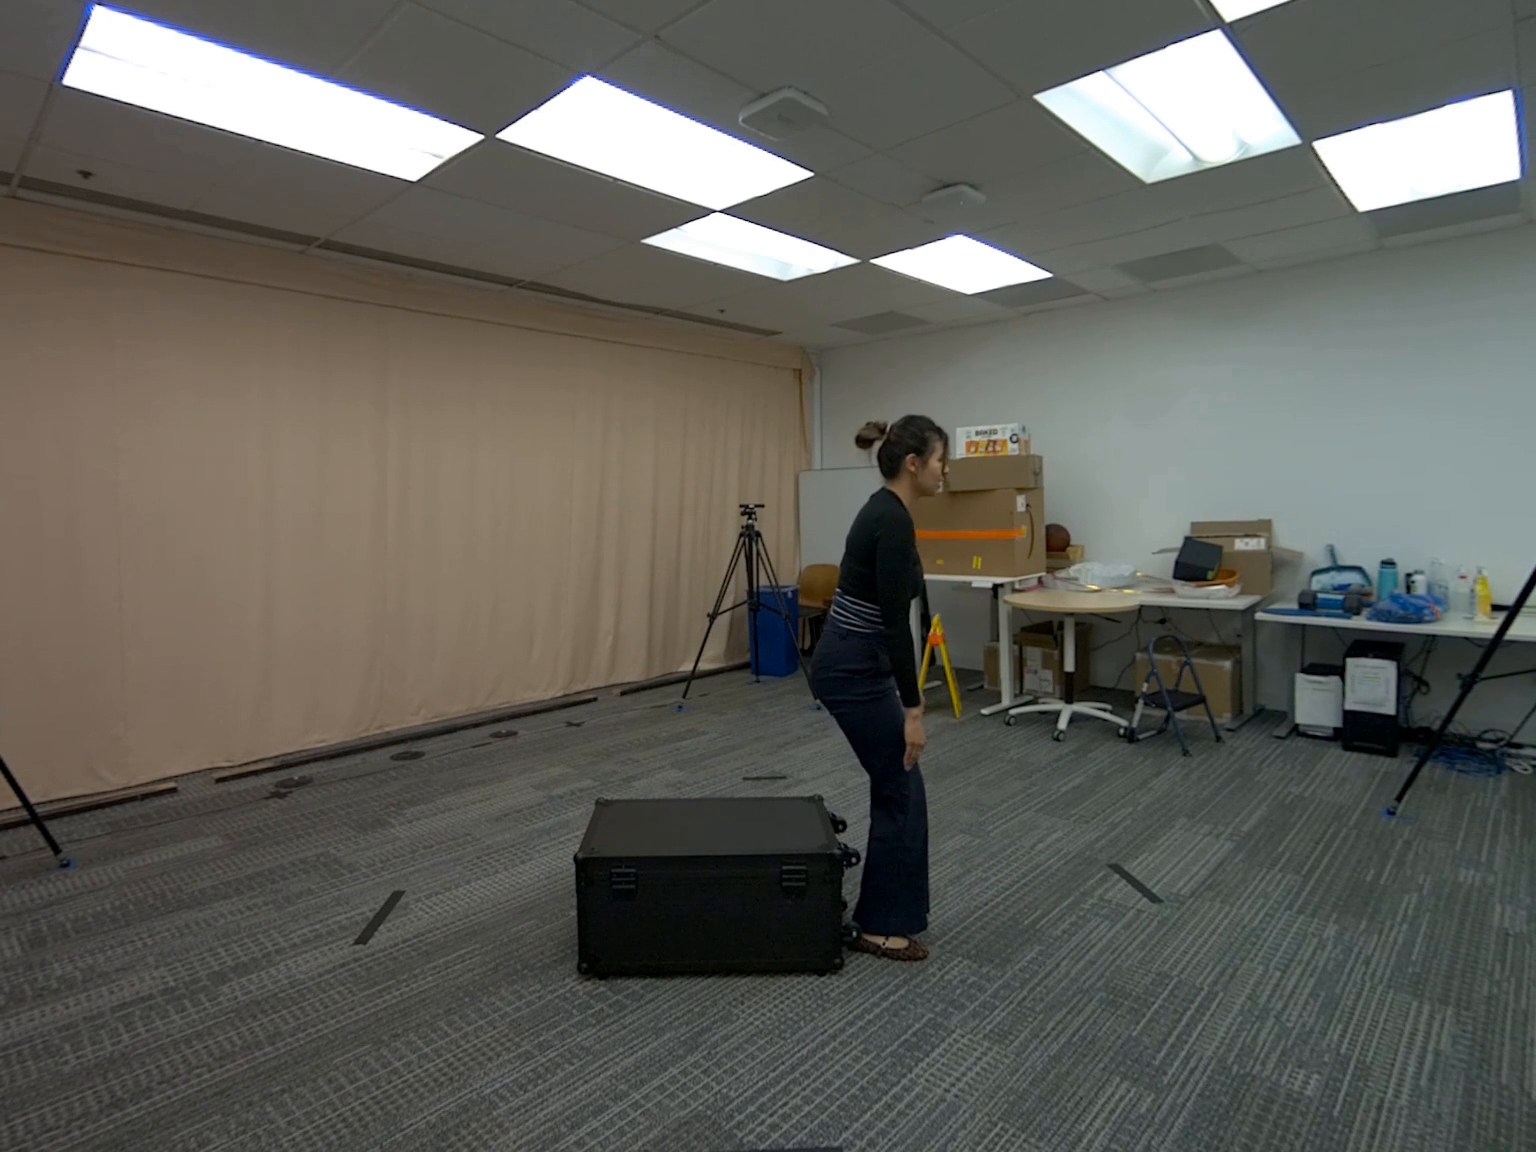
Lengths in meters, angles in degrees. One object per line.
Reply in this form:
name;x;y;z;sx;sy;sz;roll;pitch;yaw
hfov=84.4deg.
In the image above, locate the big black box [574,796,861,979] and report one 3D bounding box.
big black box;-0.154;0.977;2.697;0.861;0.395;0.523;-1;4;-1
